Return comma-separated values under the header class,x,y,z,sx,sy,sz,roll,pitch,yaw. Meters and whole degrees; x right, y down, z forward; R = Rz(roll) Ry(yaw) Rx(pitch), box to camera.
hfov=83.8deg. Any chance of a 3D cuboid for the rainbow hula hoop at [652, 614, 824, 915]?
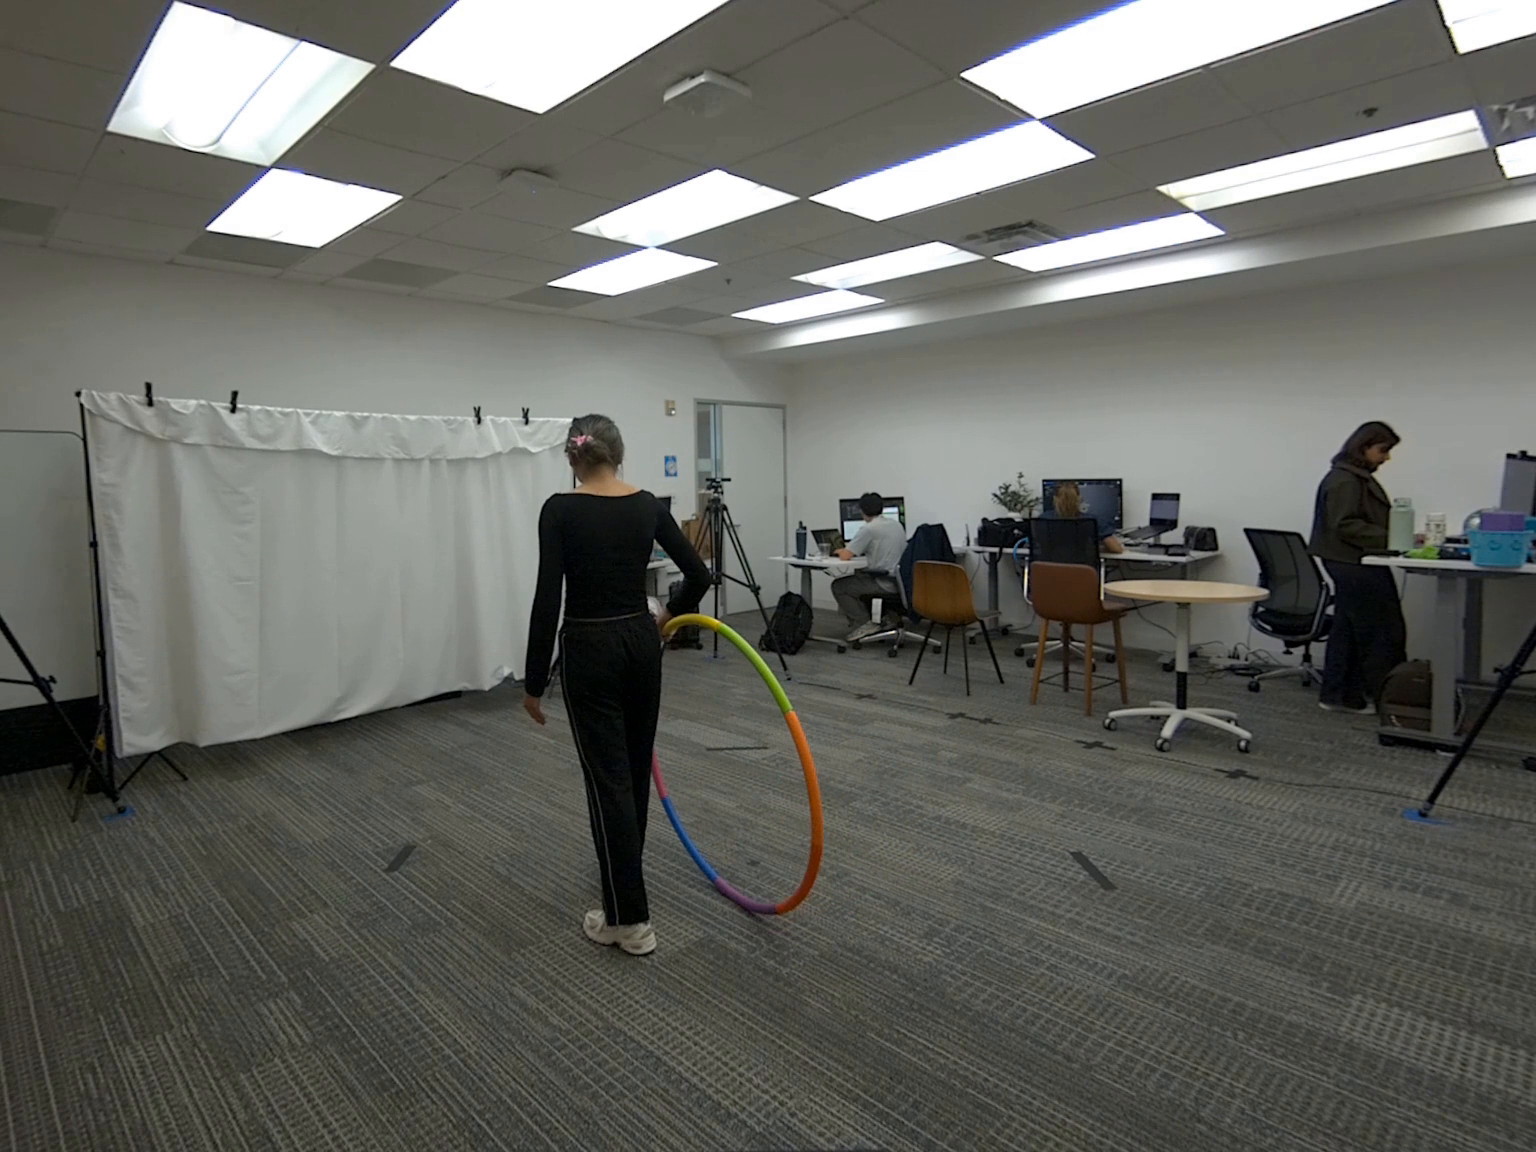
class,x,y,z,sx,sy,sz,roll,pitch,yaw
rainbow hula hoop,-0.154,0.601,2.777,0.035,0.971,1.007,-10,9,-34
